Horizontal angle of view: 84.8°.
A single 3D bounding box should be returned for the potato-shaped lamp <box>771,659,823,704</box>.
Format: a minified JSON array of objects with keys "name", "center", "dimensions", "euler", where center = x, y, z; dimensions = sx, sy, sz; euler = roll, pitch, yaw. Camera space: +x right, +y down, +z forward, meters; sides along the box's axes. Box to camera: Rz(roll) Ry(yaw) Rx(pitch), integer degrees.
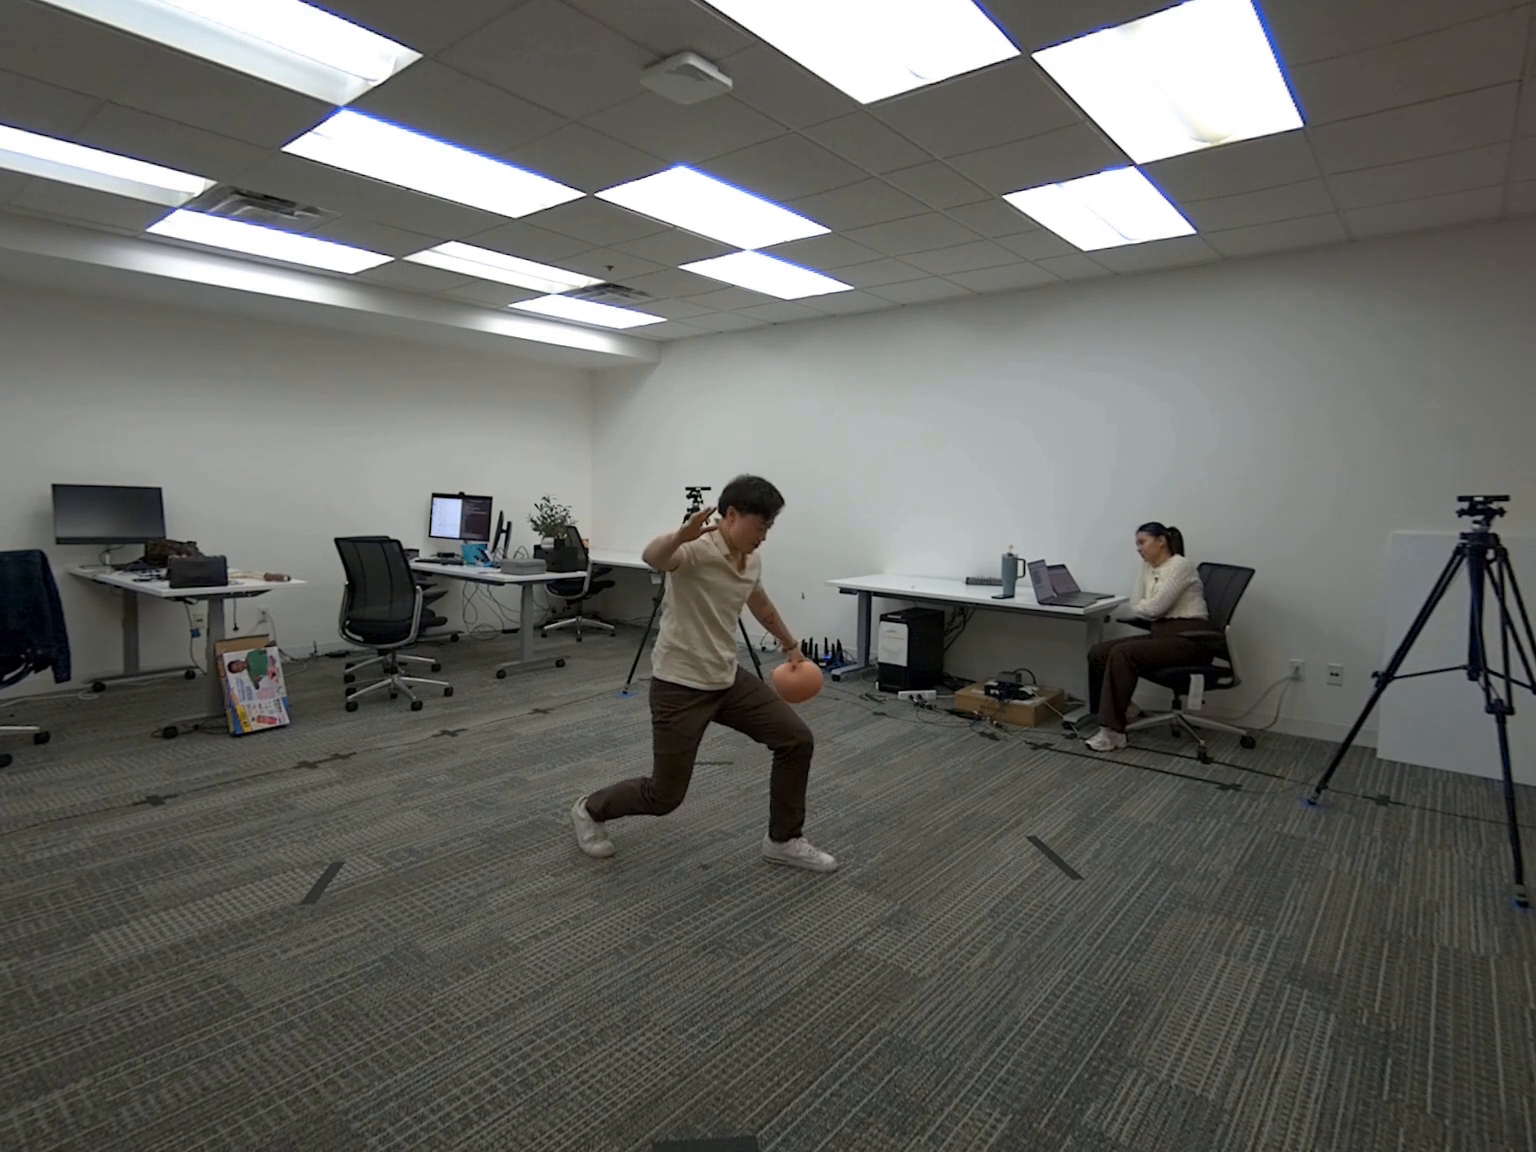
[{"name":"potato-shaped lamp","center":[0.118,0.431,3.535],"dimensions":[0.199,0.176,0.159],"euler":[-27,-22,15]}]
